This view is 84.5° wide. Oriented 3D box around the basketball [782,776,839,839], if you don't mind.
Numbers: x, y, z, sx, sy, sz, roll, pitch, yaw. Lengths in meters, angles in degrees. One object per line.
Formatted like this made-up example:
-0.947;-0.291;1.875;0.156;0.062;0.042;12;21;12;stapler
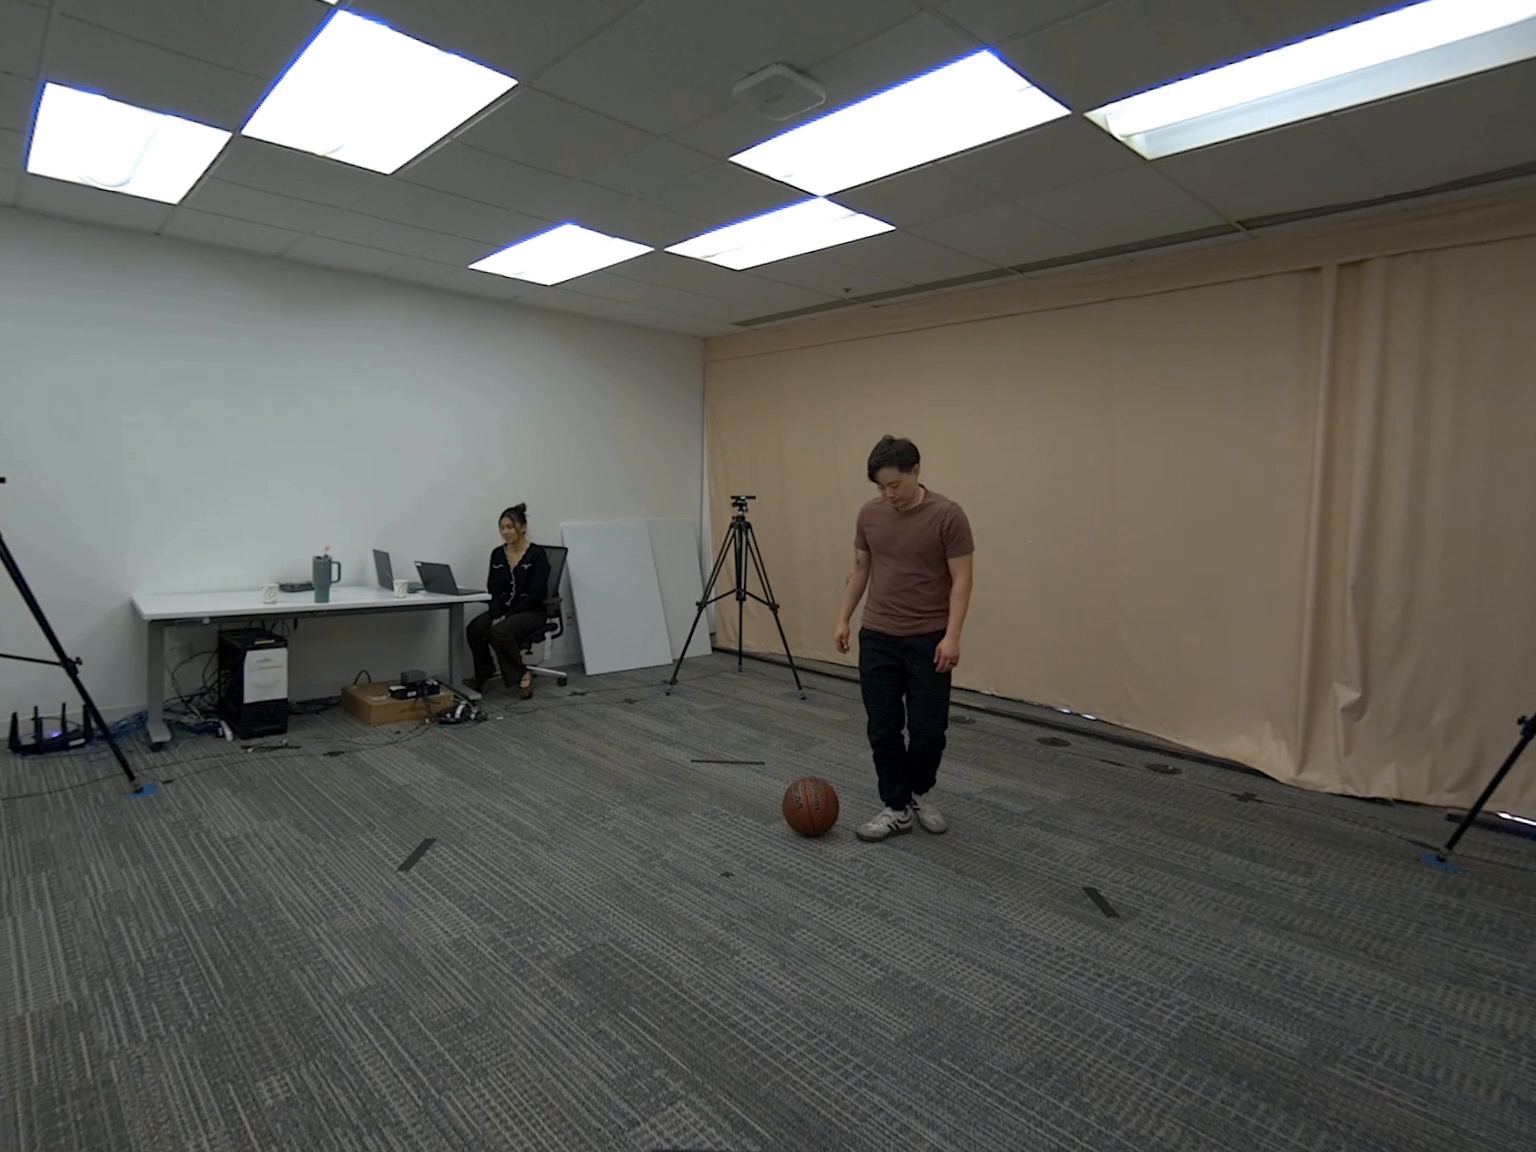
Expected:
0.171;0.955;3.499;0.236;0.235;0.237;1;4;-1;basketball
